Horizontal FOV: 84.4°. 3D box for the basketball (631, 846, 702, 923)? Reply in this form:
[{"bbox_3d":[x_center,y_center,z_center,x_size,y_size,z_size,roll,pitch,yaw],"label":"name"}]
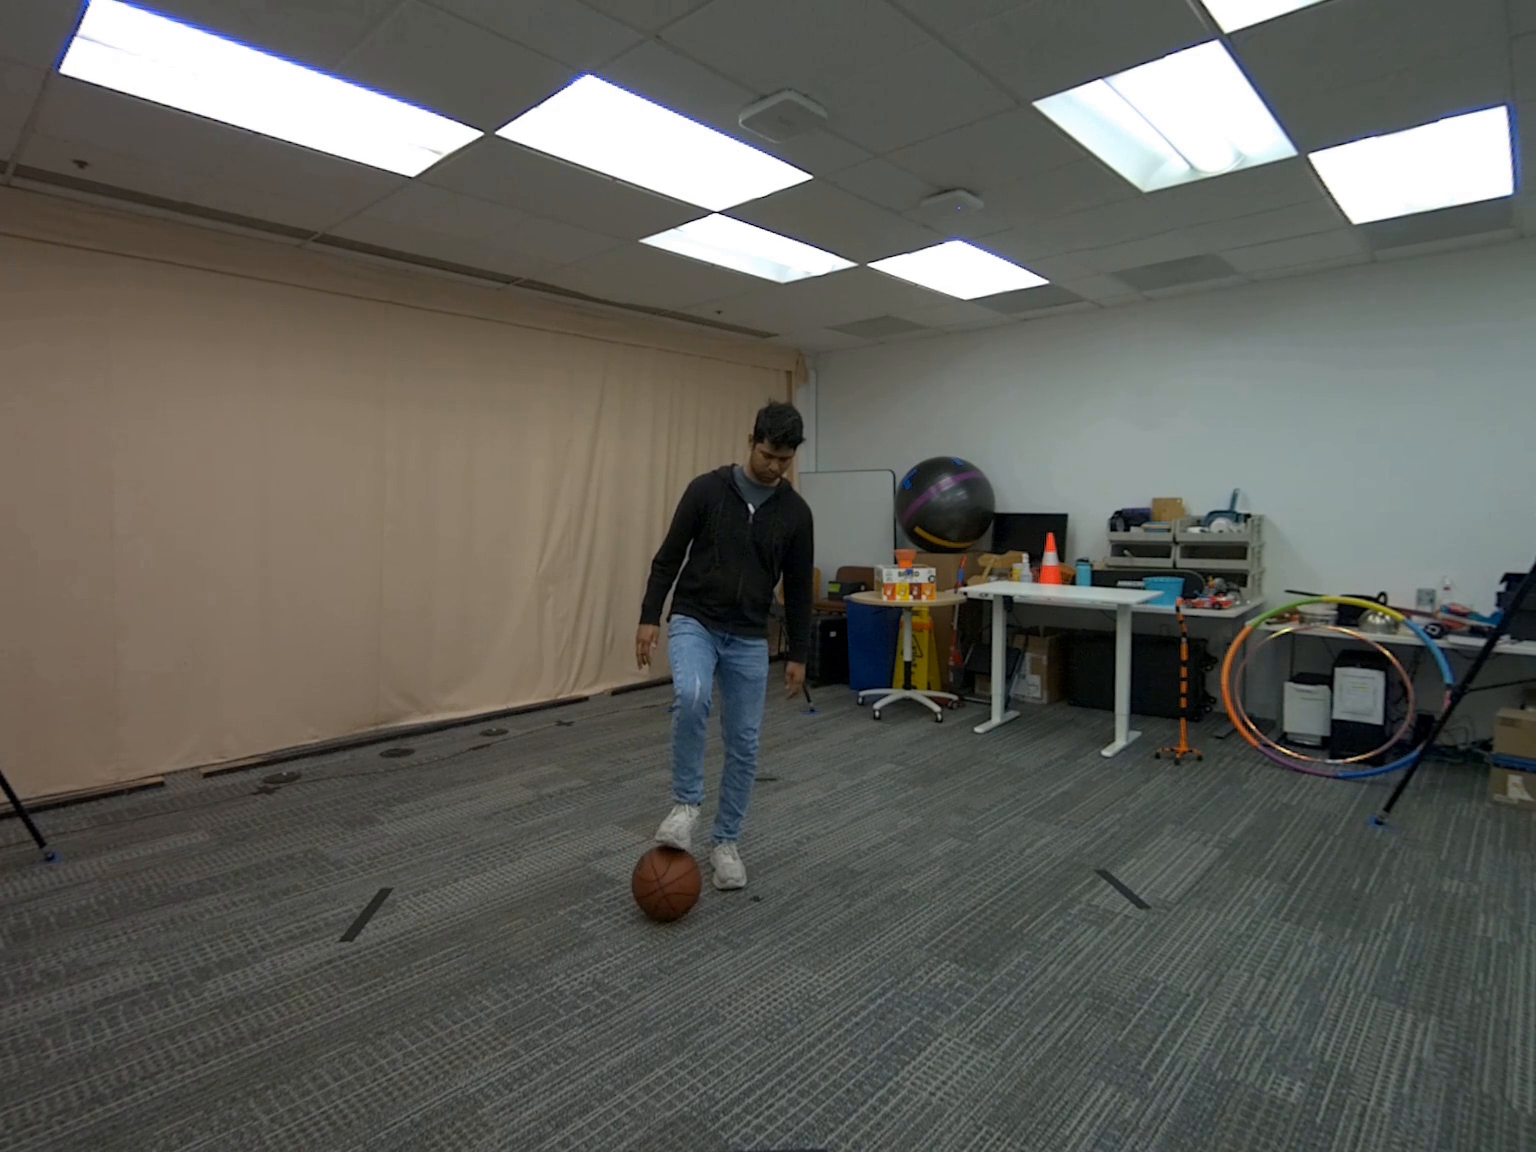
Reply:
[{"bbox_3d":[-0.348,1.037,2.854,0.236,0.235,0.237,0,4,-2],"label":"basketball"}]
